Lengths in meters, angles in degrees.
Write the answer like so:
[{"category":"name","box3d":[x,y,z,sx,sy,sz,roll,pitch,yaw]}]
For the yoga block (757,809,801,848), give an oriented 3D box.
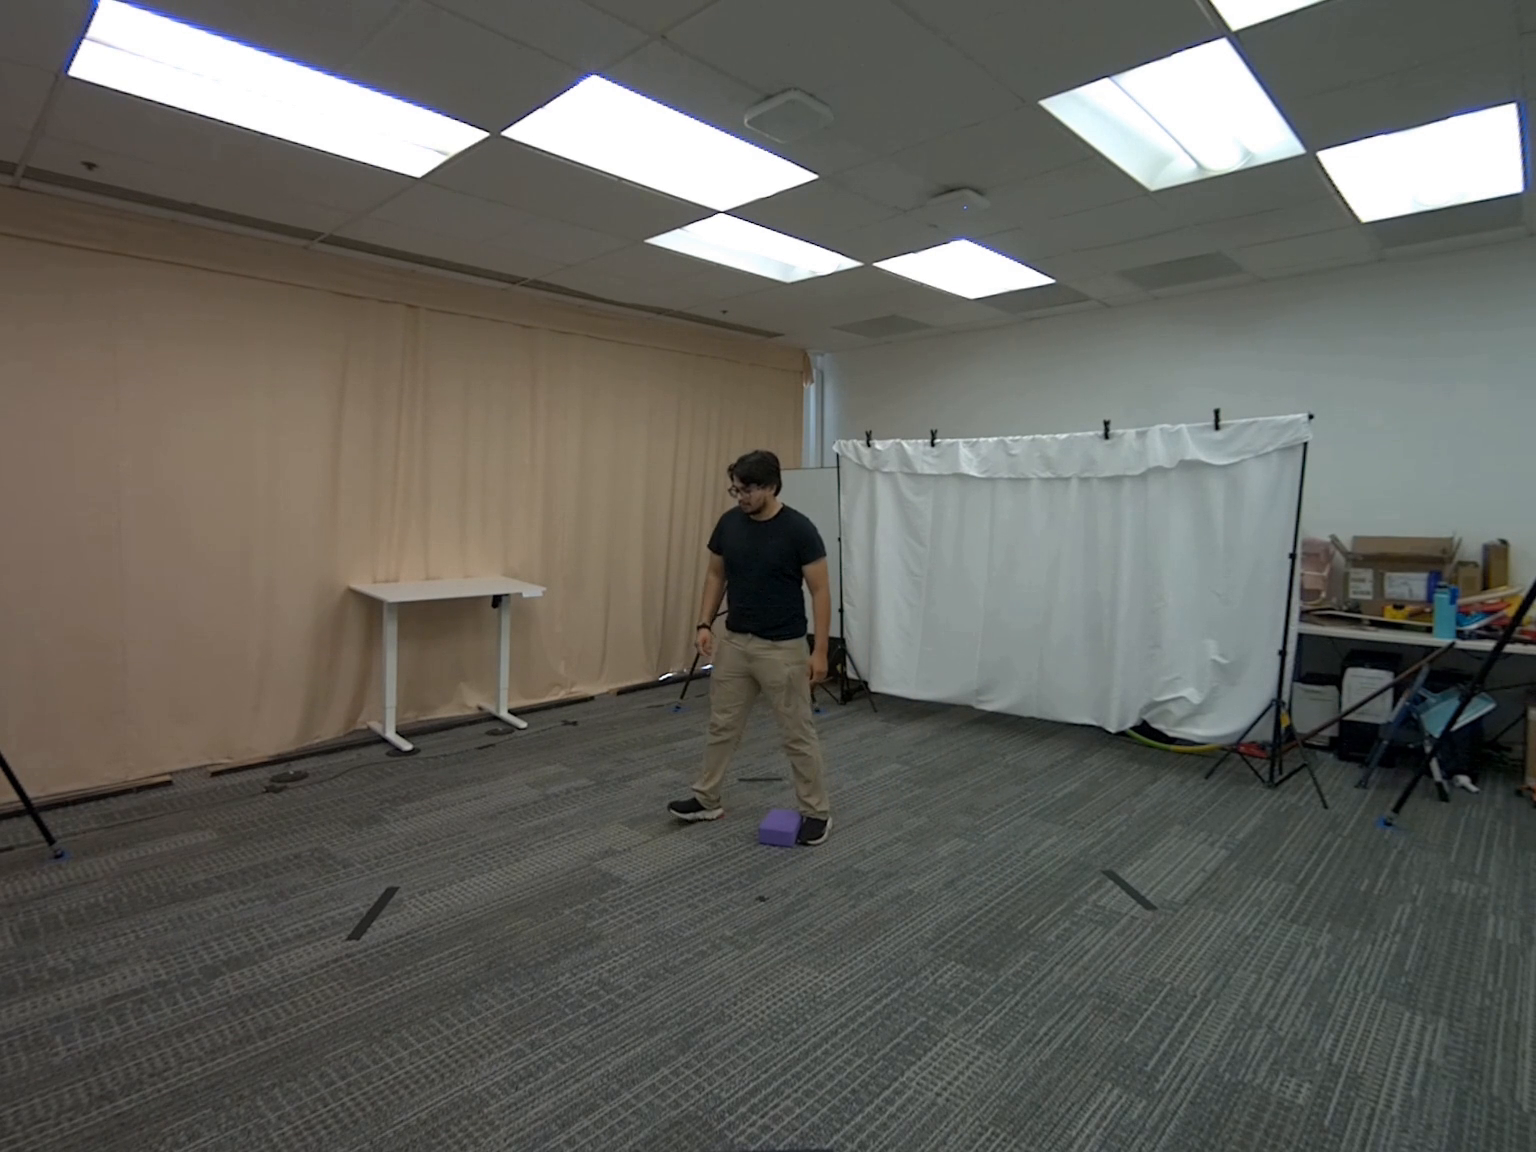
[{"category":"yoga block","box3d":[0.059,1.057,3.544,0.151,0.076,0.226,2,6,15]}]
